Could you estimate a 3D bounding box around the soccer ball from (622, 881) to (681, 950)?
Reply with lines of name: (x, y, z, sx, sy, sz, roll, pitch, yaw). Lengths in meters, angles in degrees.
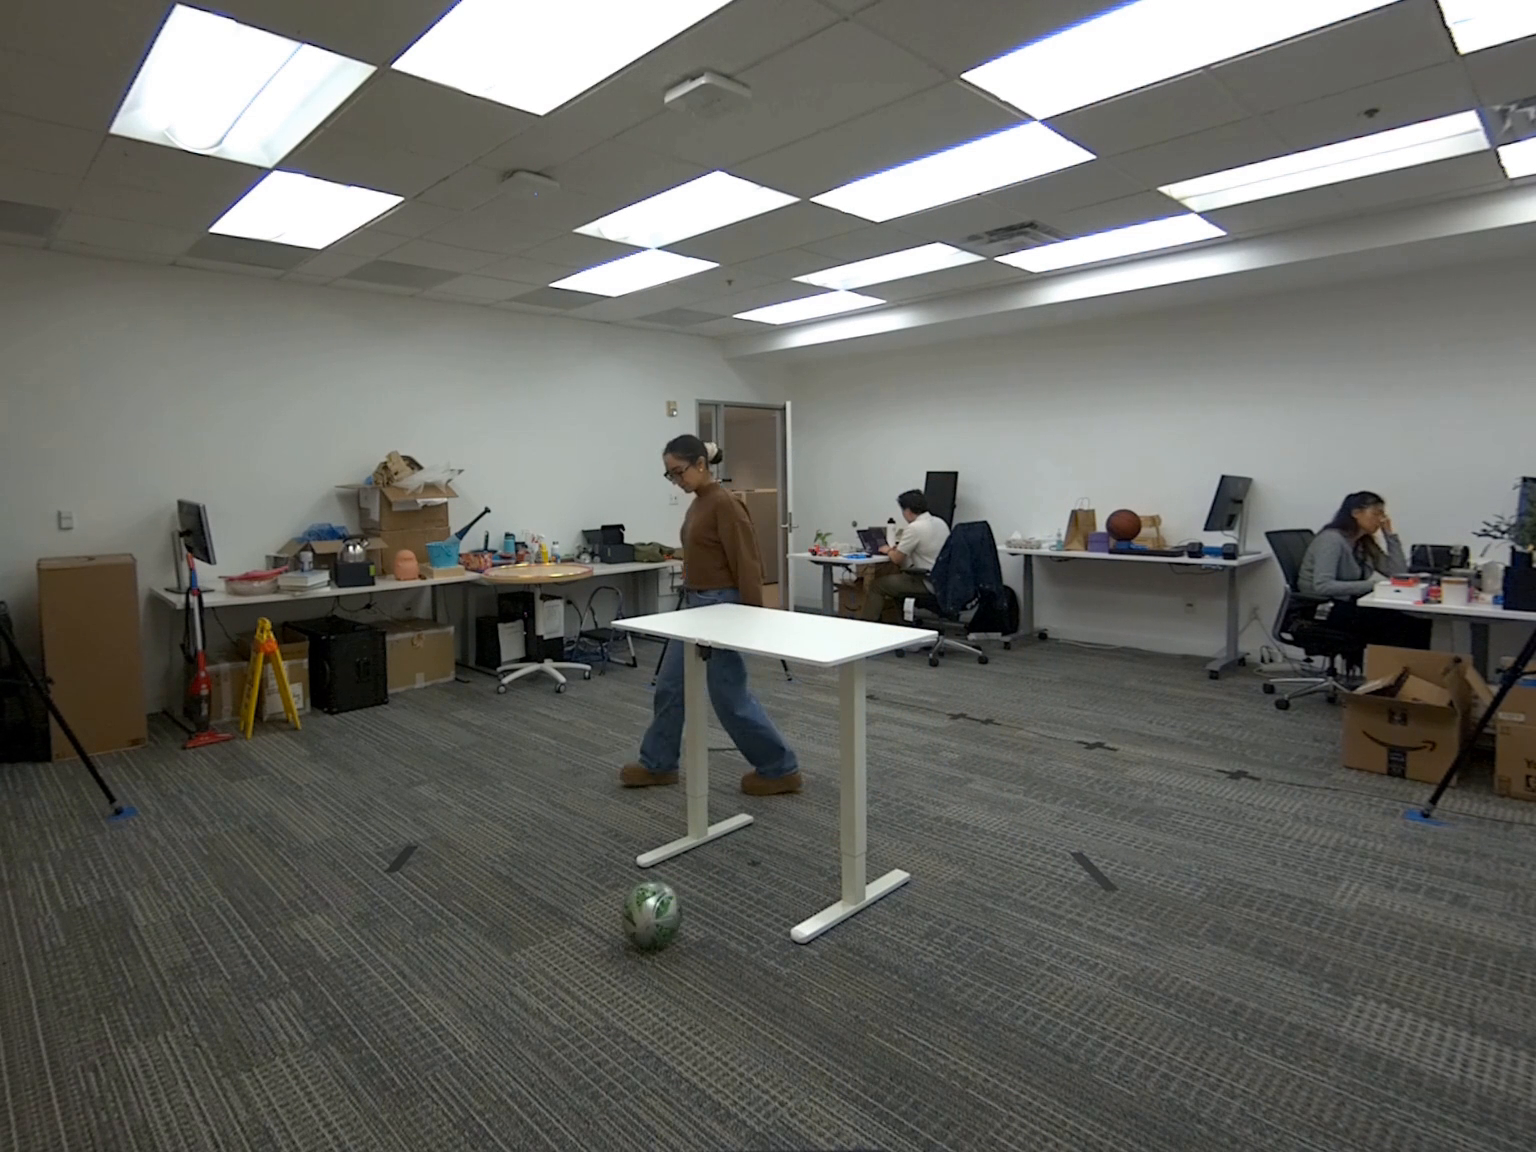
soccer ball: (-0.347, 1.024, 2.578, 0.187, 0.187, 0.188, -1, 5, -2)
